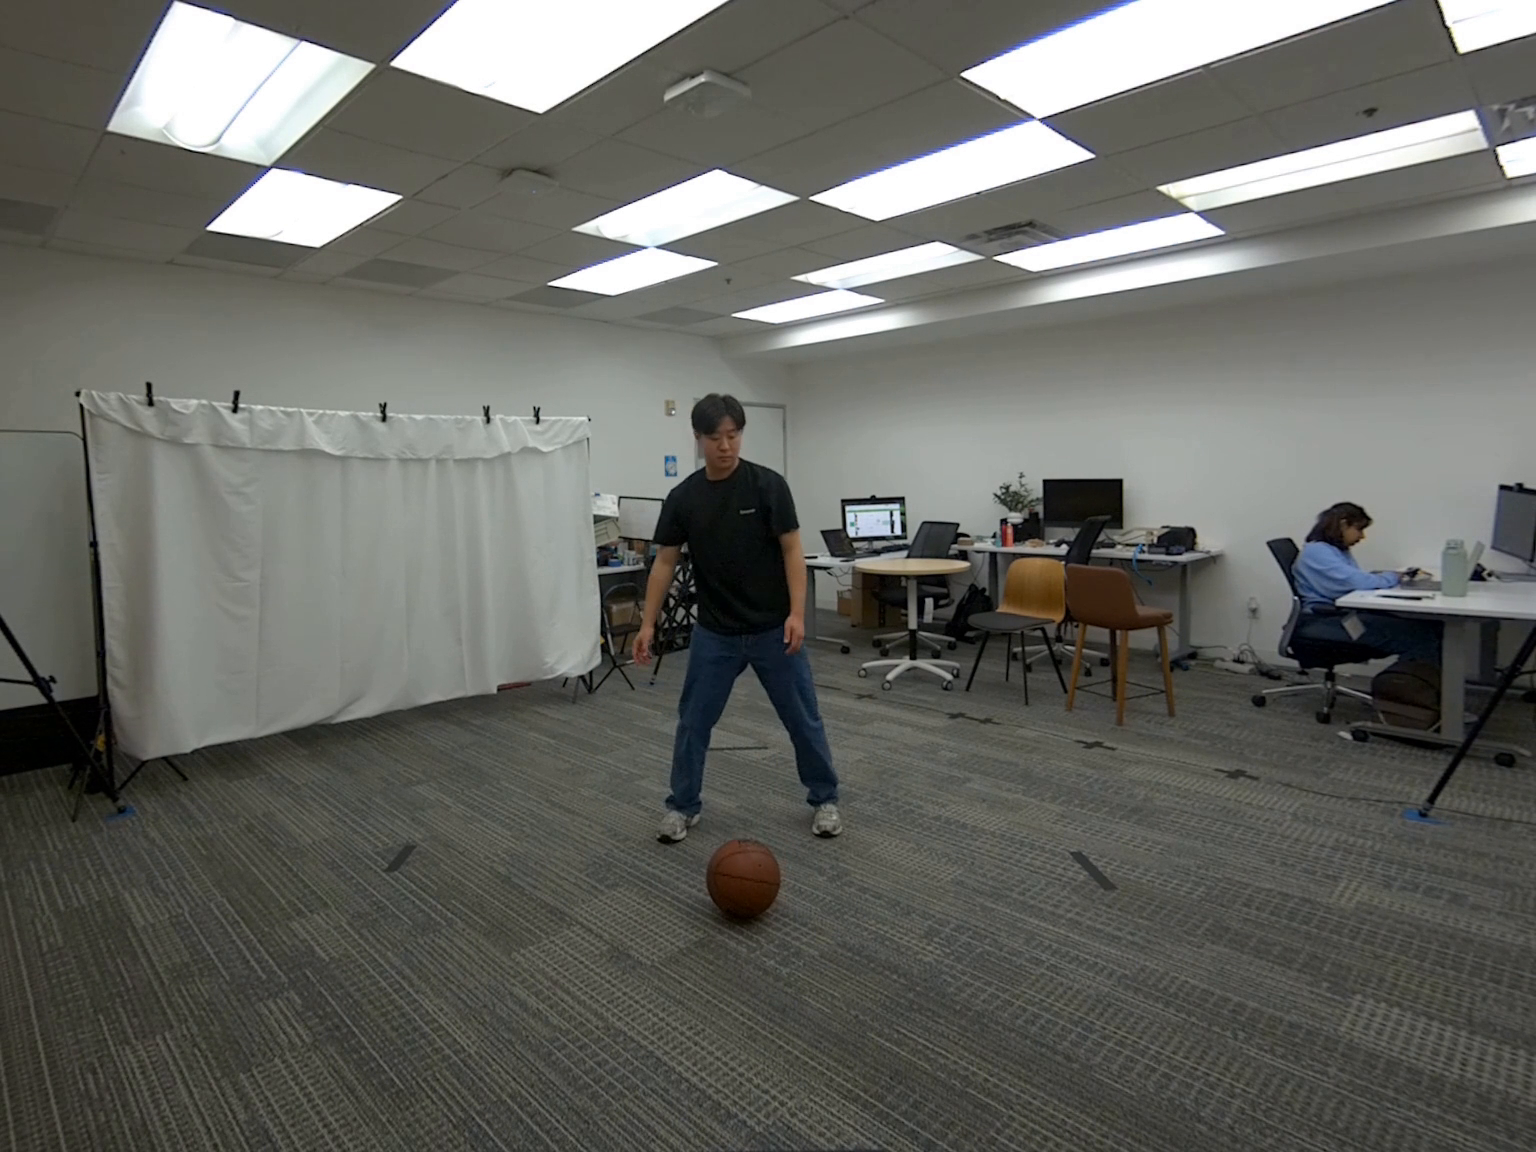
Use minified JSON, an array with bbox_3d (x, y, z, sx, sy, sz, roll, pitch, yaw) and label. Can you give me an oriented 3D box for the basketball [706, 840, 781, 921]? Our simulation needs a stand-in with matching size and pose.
[{"bbox_3d":[-0.077,0.960,2.745,0.236,0.235,0.237,-1,5,-2],"label":"basketball"}]
